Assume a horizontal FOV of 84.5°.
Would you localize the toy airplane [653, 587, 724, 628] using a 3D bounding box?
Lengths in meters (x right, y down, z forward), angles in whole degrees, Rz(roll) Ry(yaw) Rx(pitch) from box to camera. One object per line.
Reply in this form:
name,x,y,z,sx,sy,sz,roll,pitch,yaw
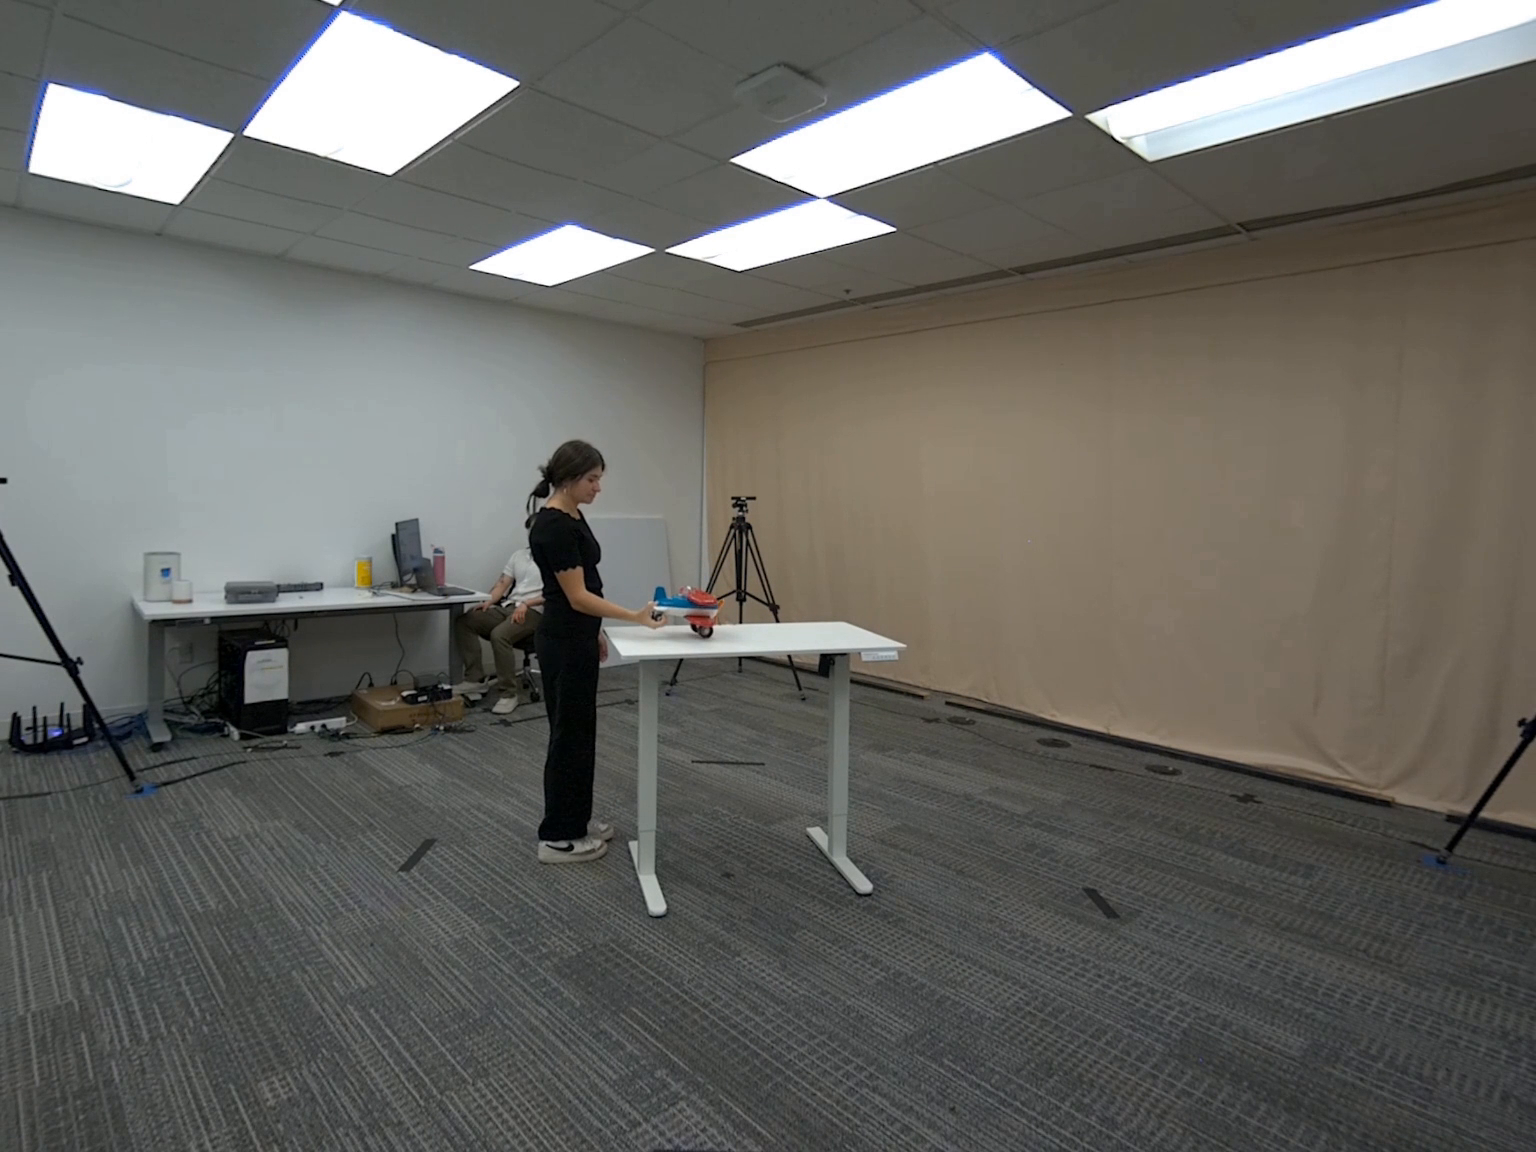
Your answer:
toy airplane,-0.301,0.123,3.050,0.258,0.156,0.252,19,0,38
